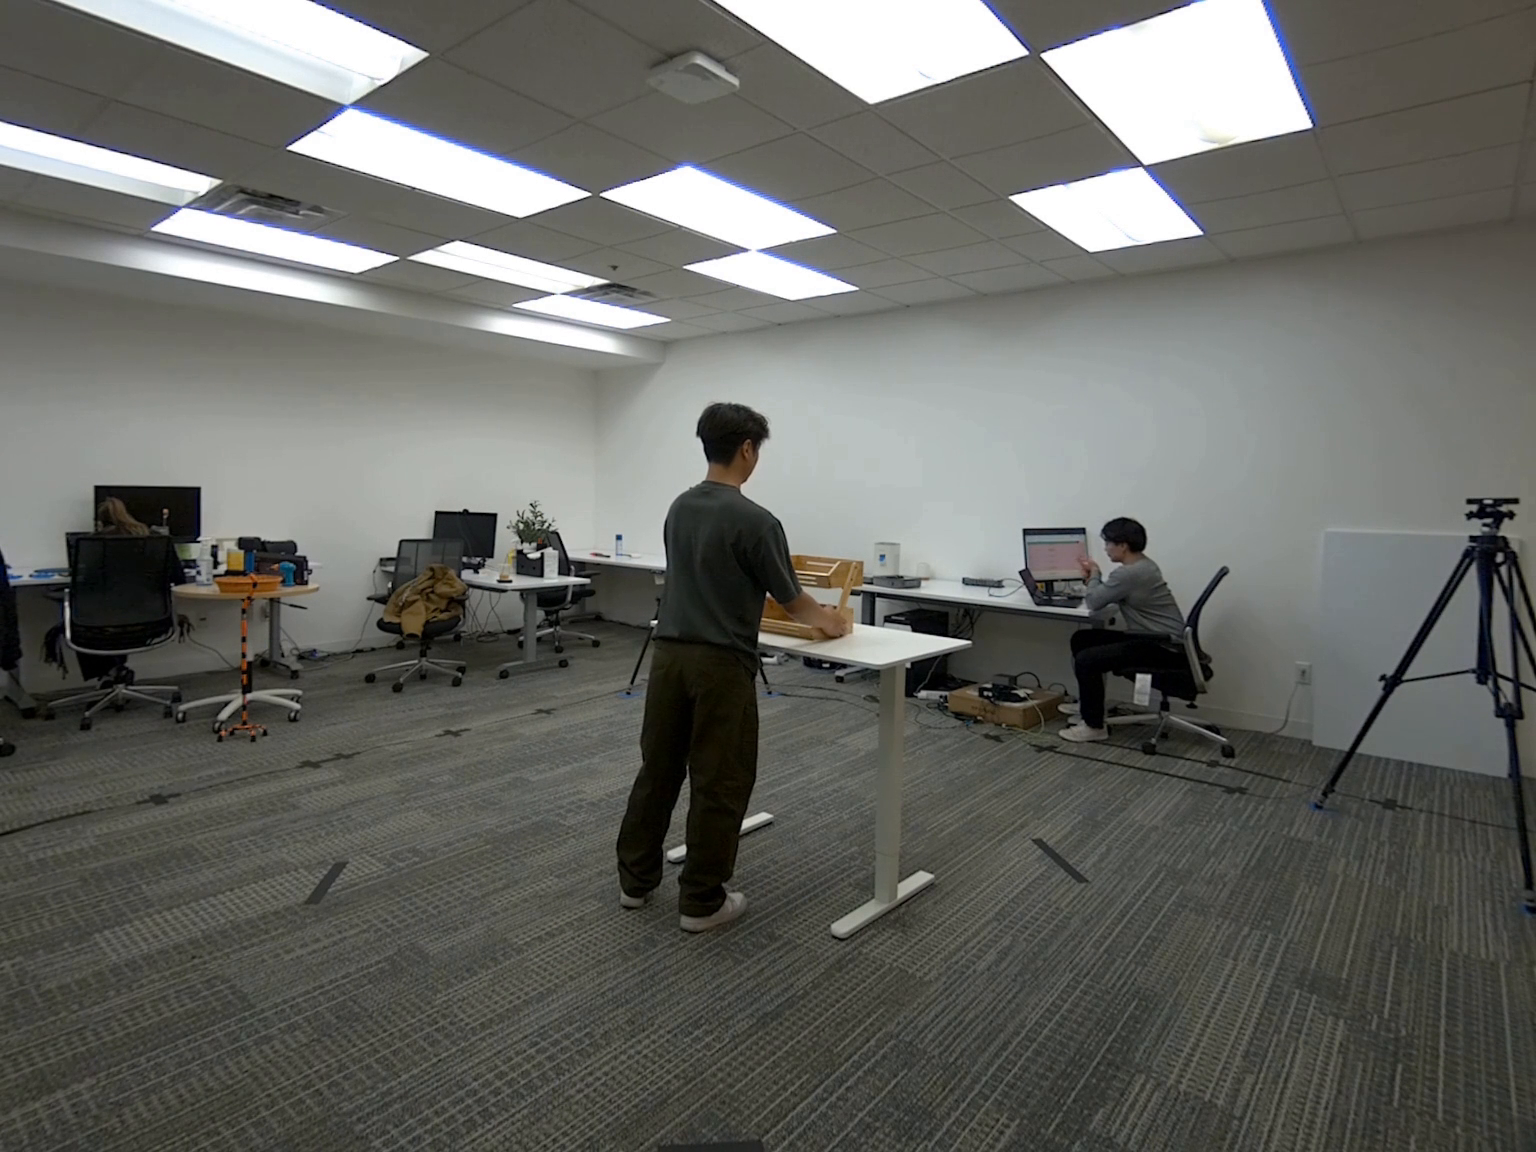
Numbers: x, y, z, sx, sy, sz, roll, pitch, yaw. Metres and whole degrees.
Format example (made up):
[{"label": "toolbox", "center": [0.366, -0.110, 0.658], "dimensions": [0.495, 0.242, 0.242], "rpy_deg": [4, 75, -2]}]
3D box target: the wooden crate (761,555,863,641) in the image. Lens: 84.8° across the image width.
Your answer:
[{"label": "wooden crate", "center": [0.121, 0.062, 3.071], "dimensions": [0.336, 0.272, 0.293], "rpy_deg": [6, 6, 42]}]
